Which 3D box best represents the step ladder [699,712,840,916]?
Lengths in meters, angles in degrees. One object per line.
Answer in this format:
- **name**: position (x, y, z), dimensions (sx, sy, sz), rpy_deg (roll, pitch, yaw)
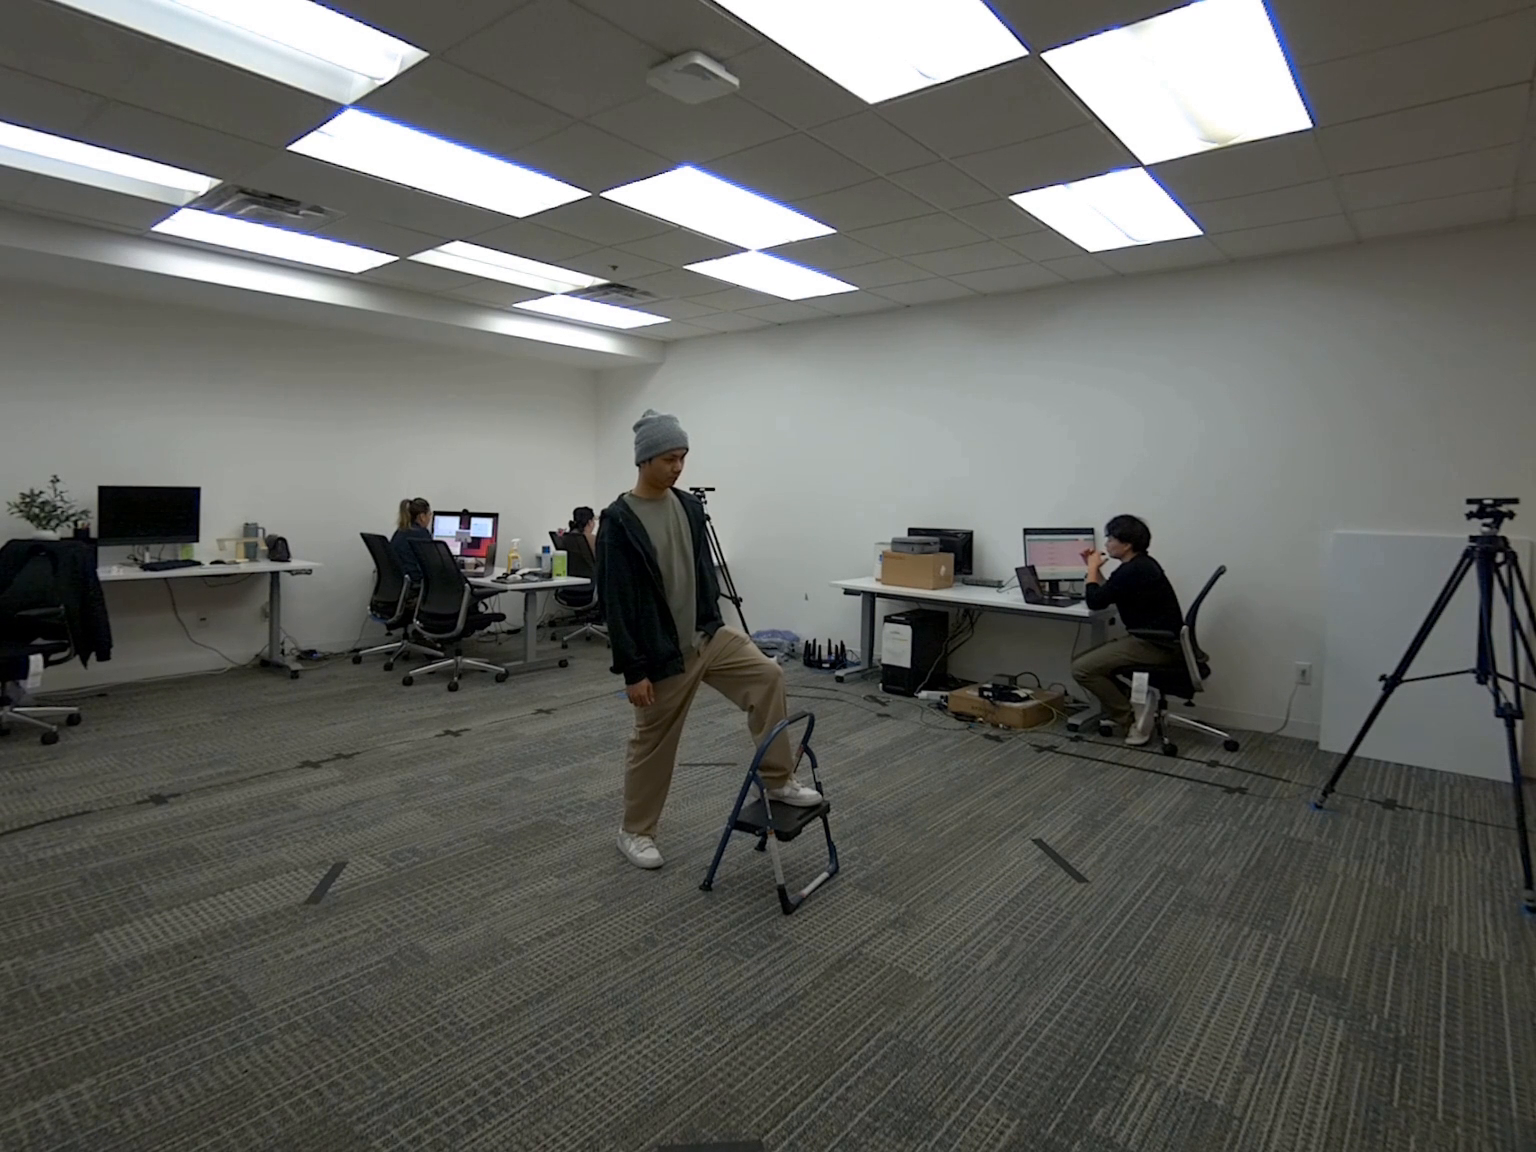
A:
- **step ladder**: position (0.015, 0.779, 3.016), dimensions (0.359, 0.604, 0.419), rpy_deg (4, 4, 29)
